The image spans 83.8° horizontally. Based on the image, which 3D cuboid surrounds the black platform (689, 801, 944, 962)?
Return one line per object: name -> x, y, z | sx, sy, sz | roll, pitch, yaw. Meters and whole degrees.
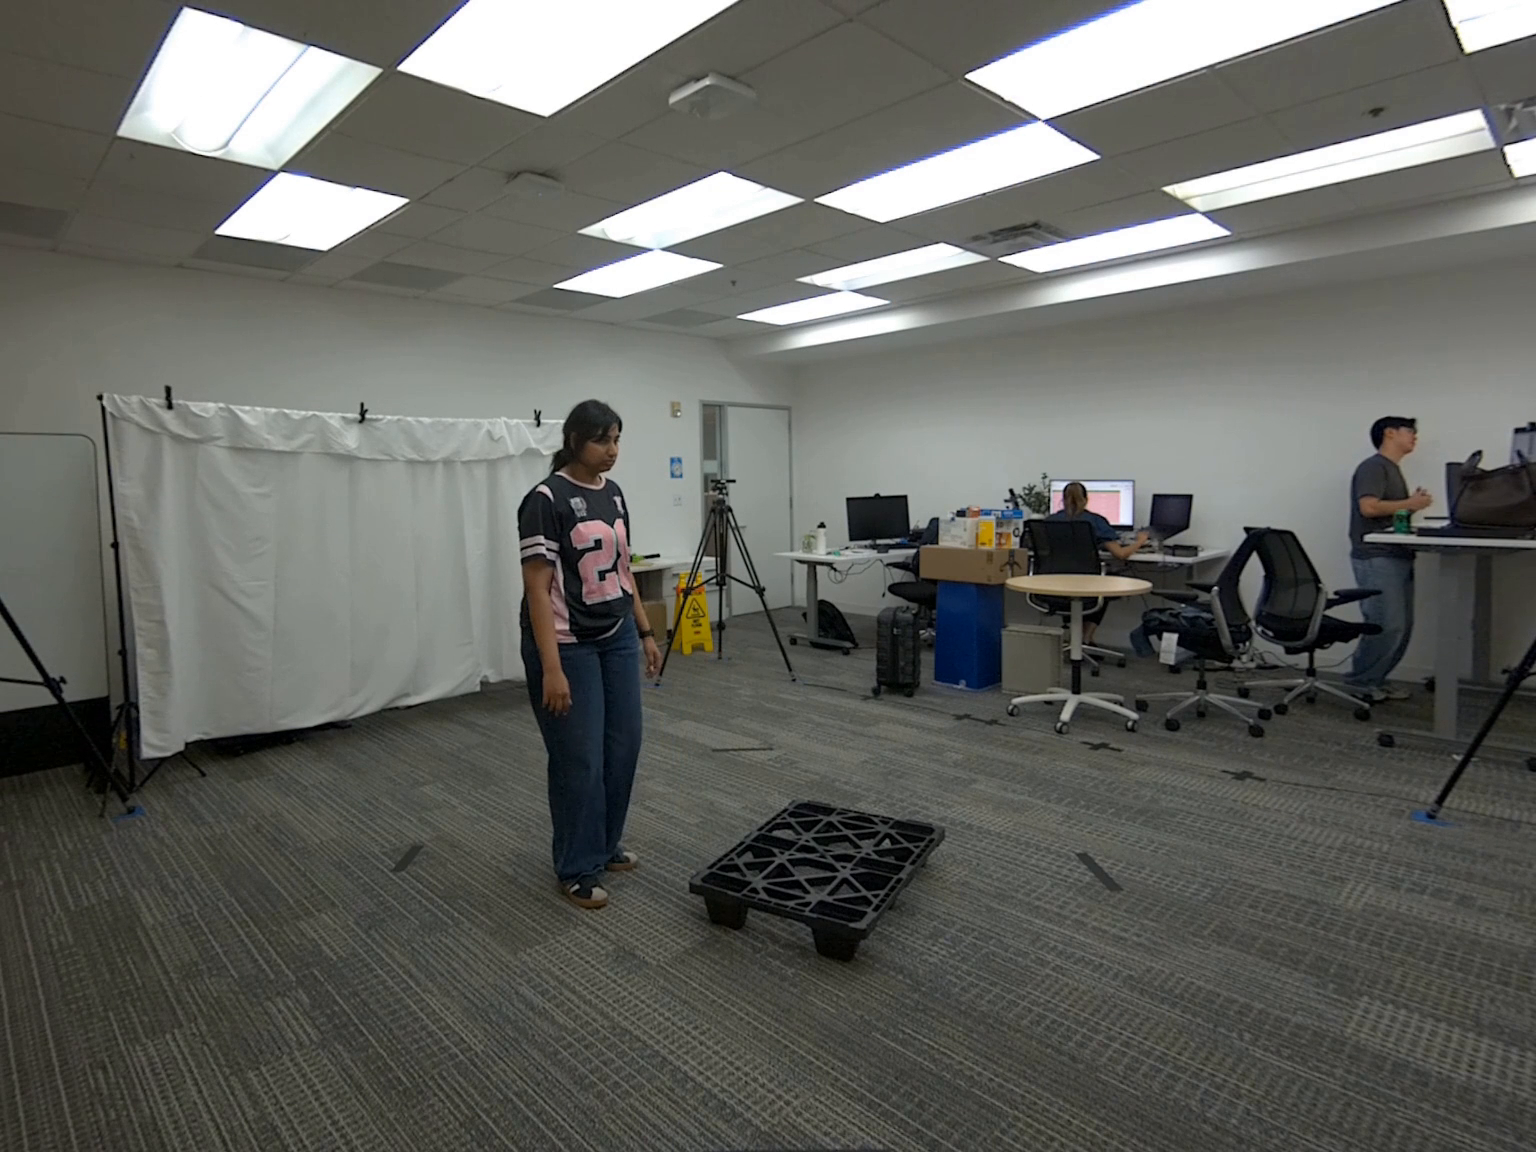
black platform -> 0.191, 0.999, 2.888 | 0.621, 0.143, 0.789 | 2, 7, 29
